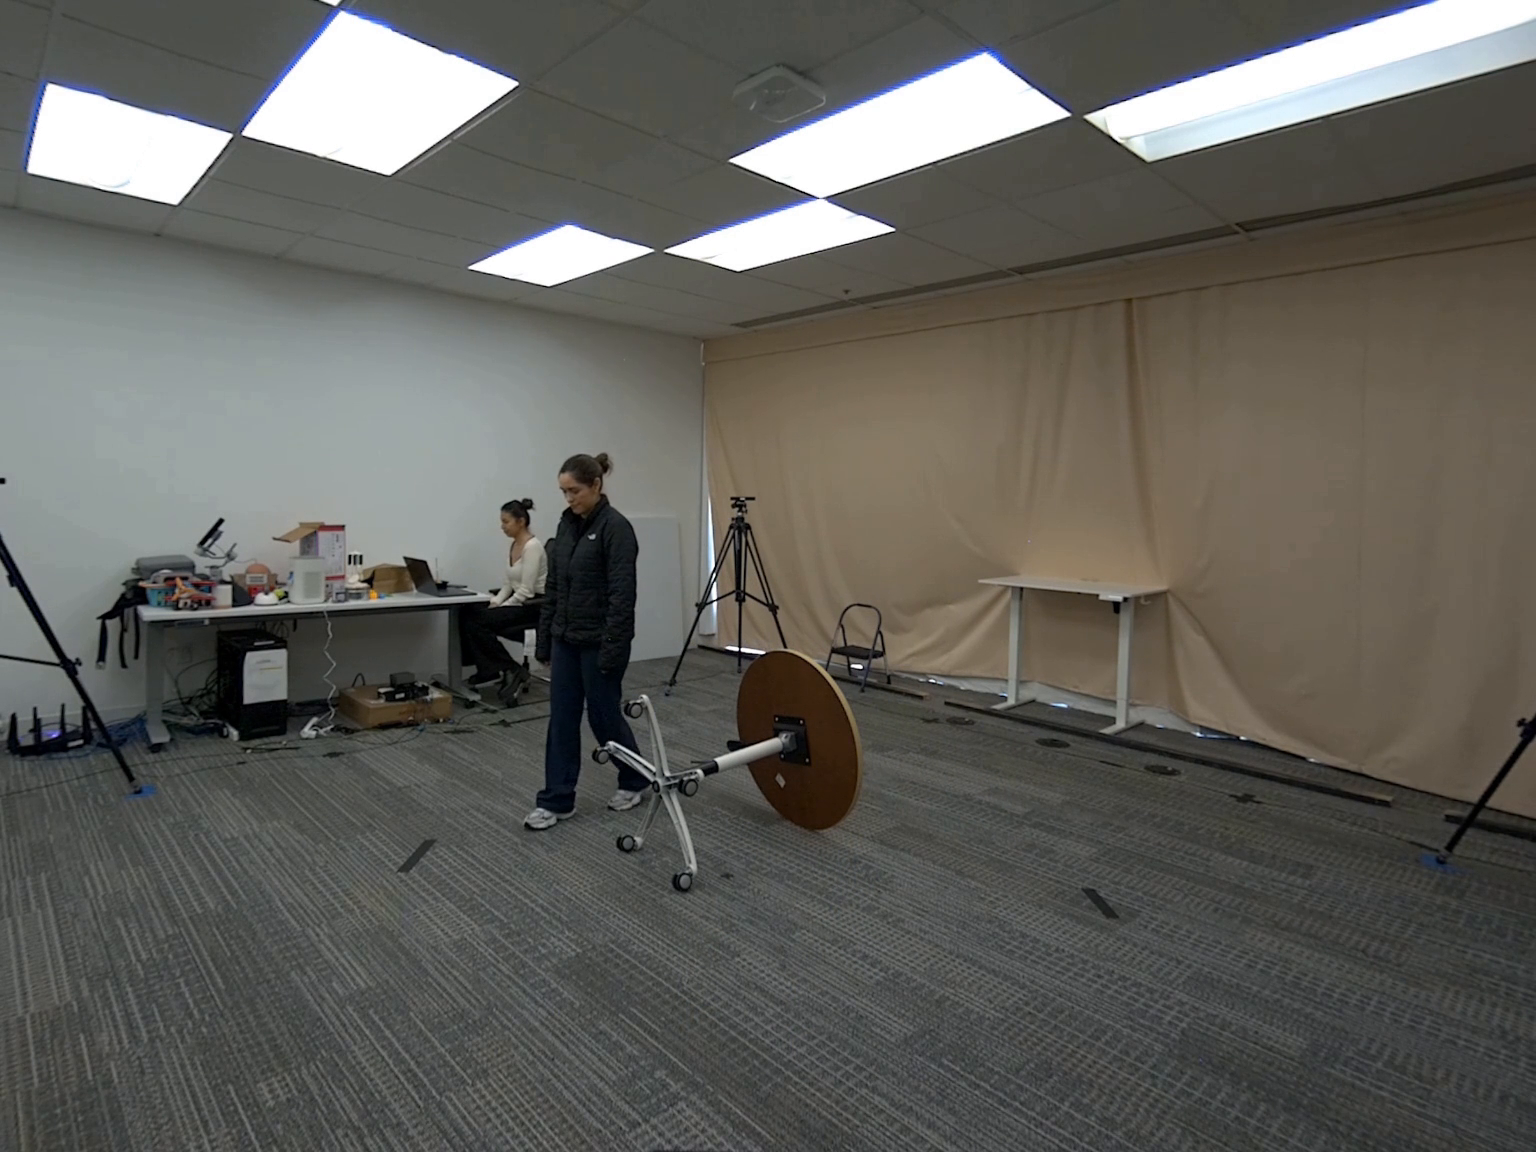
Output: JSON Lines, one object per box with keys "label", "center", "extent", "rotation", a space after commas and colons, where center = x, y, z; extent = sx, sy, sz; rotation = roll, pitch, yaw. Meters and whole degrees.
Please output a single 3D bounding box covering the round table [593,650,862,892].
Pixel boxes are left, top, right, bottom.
{"label": "round table", "center": [-0.189, 0.748, 3.339], "extent": [0.771, 0.781, 0.805], "rotation": [-9, 10, -38]}
